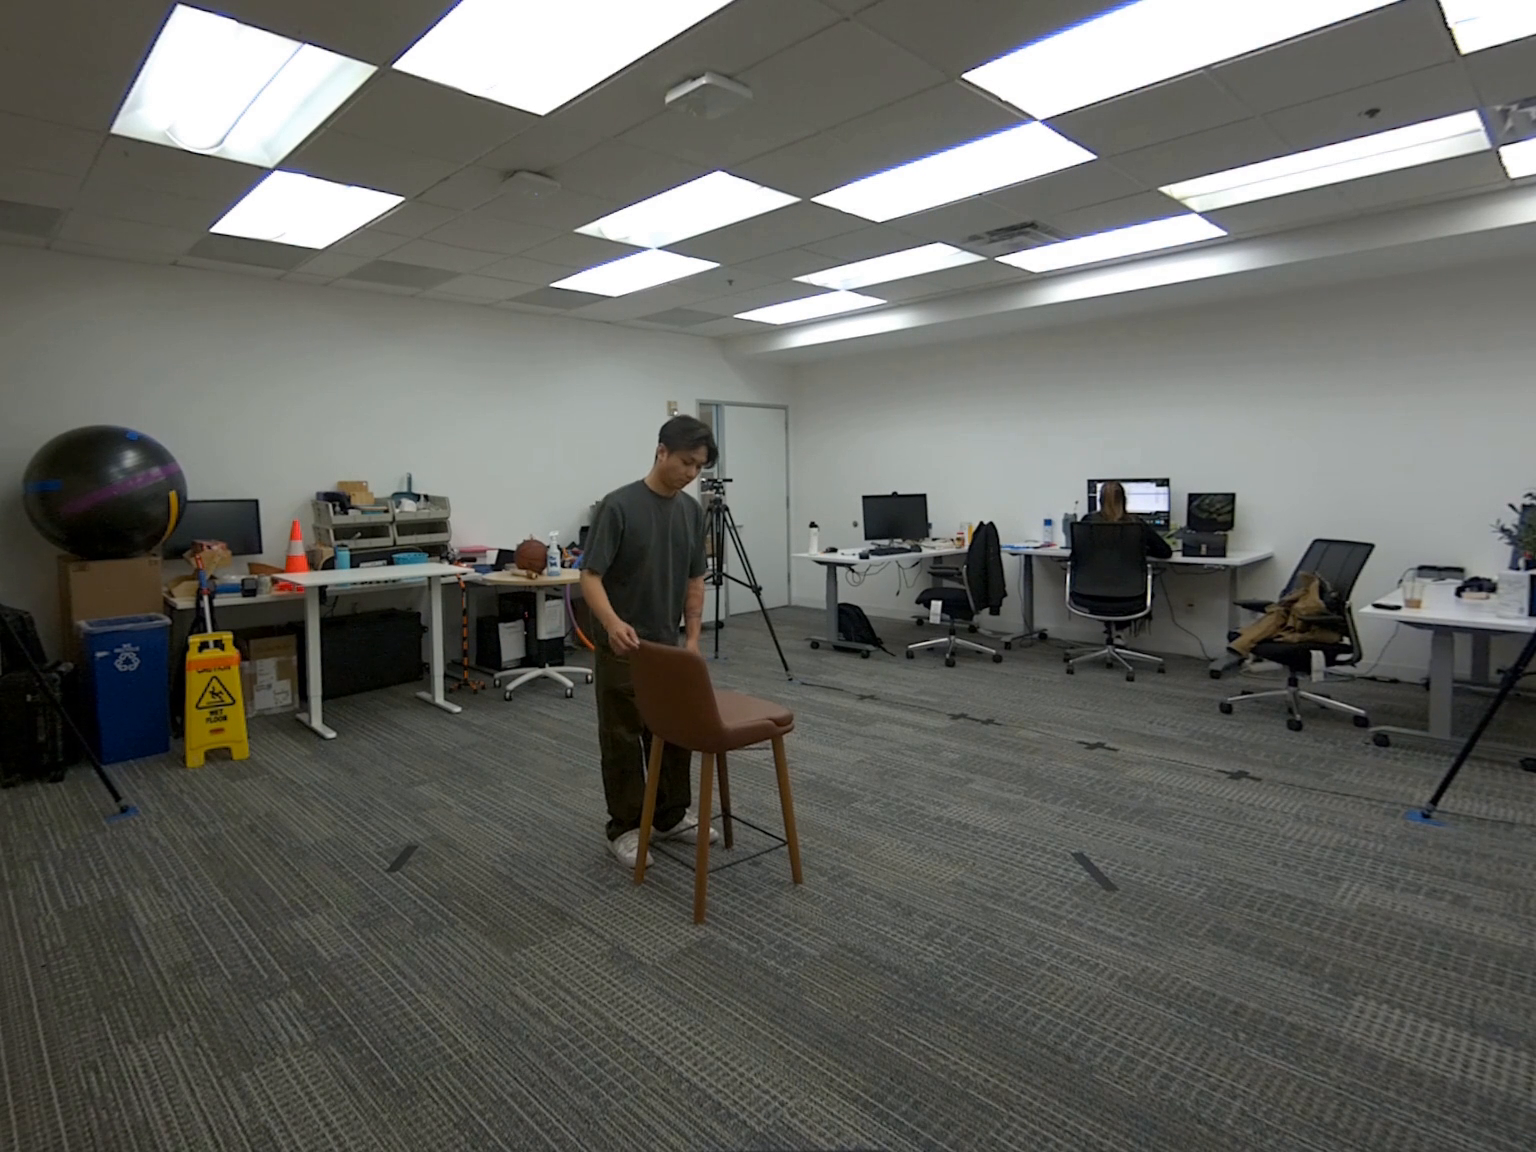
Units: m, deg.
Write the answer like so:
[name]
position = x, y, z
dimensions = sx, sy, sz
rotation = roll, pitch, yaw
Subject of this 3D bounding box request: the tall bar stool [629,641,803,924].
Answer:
[tall bar stool]
position = -0.185, 0.630, 2.934
dimensions = 0.456, 0.885, 0.470
rotation = -7, 7, -40
